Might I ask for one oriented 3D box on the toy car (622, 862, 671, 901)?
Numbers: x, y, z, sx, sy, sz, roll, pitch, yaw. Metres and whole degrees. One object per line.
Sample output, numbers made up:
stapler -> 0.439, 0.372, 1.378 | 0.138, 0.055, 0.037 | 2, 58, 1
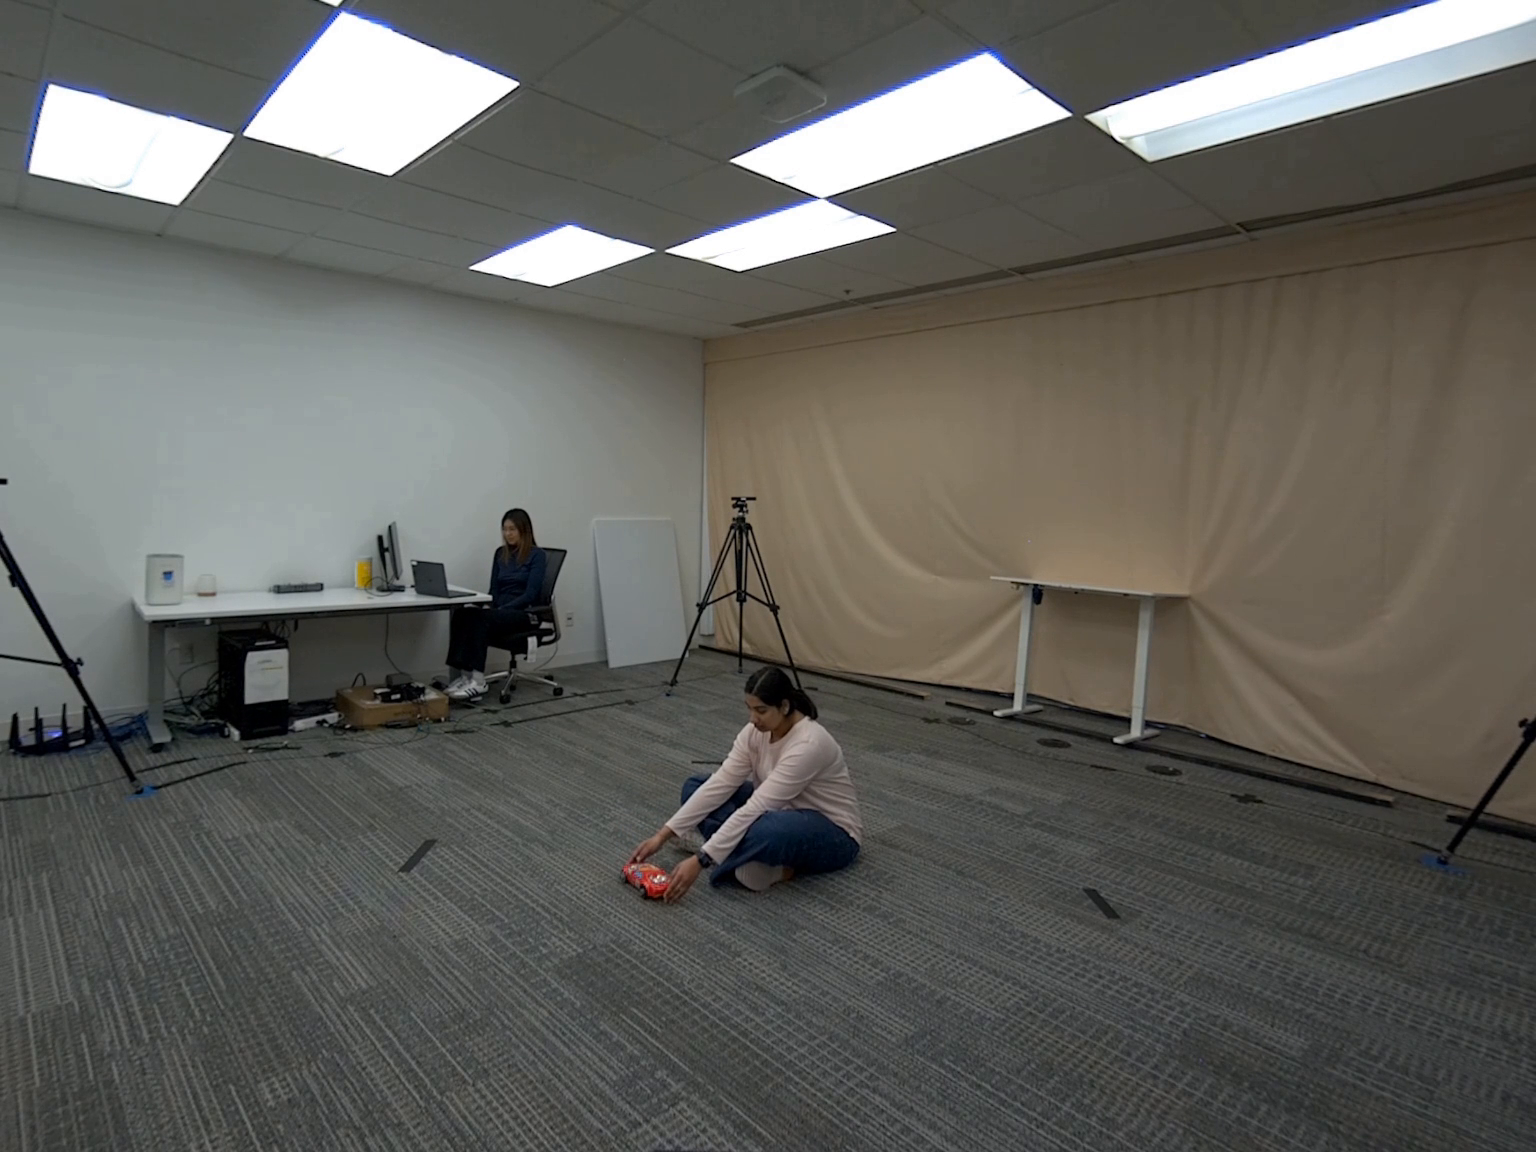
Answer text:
toy car -> -0.426, 1.068, 2.976 | 0.127, 0.083, 0.259 | -2, -6, -36
